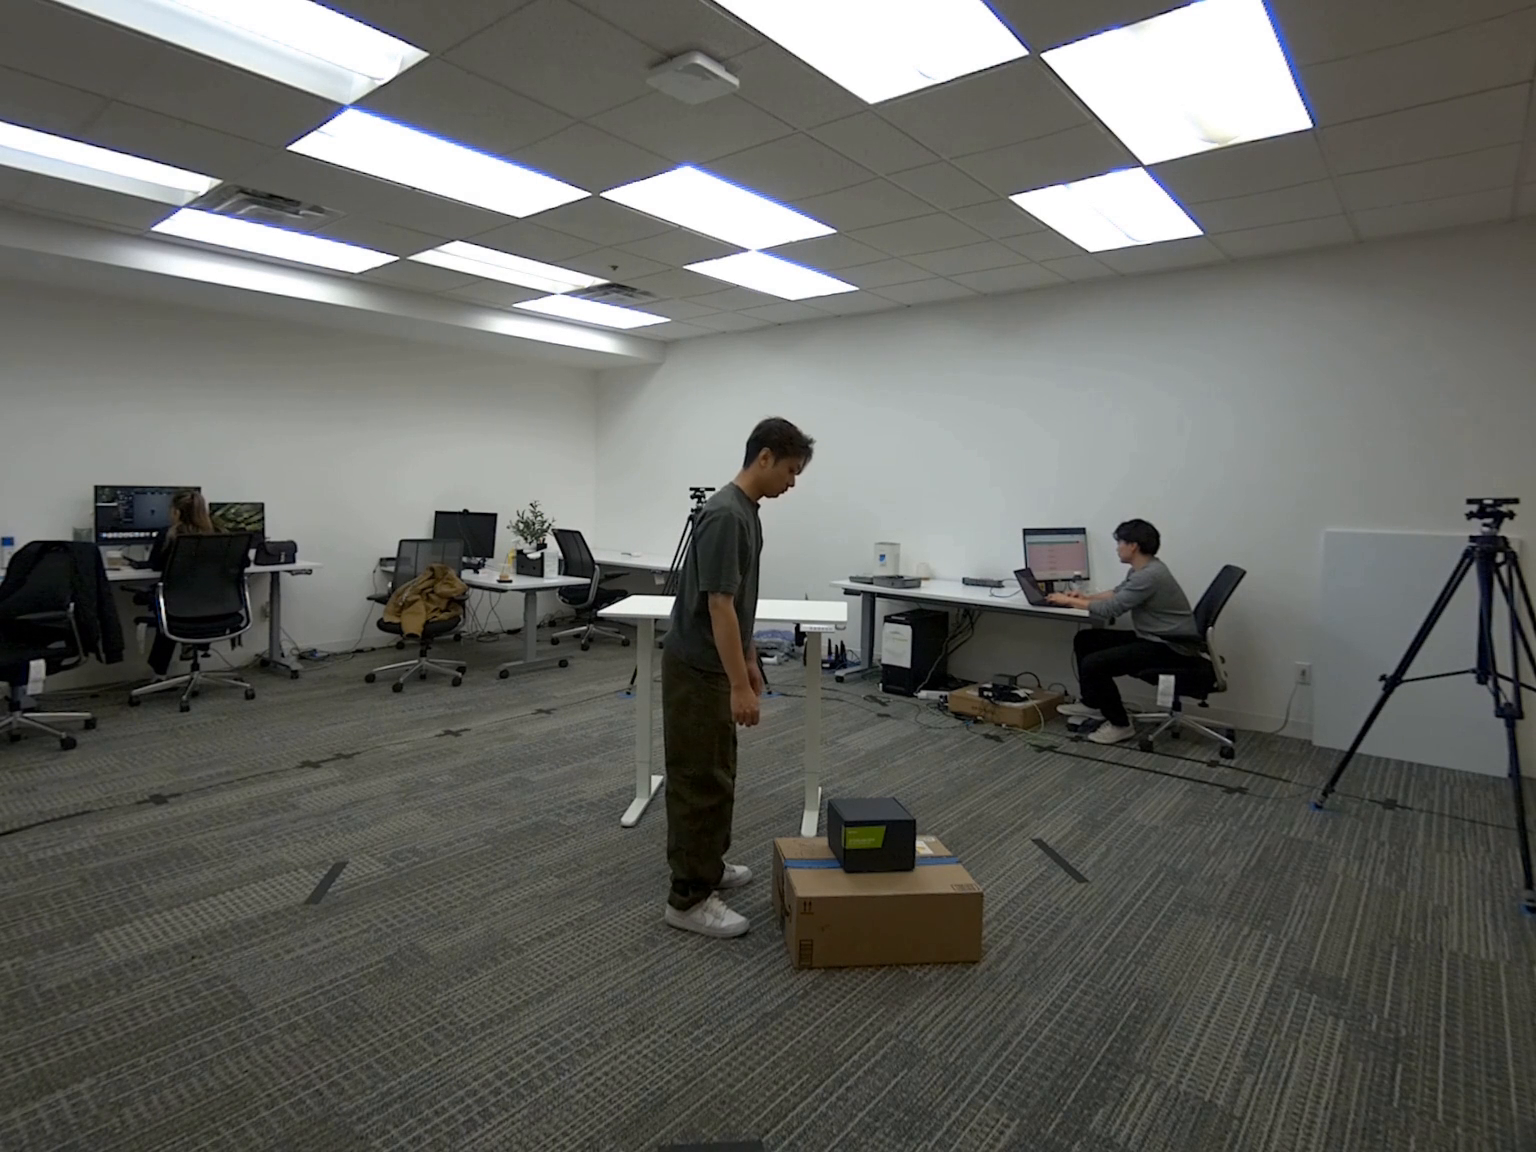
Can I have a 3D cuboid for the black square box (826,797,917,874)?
[{"bbox_3d":[0.320,0.819,2.717,0.226,0.156,0.219,2,3,-9],"label":"black square box"}]
